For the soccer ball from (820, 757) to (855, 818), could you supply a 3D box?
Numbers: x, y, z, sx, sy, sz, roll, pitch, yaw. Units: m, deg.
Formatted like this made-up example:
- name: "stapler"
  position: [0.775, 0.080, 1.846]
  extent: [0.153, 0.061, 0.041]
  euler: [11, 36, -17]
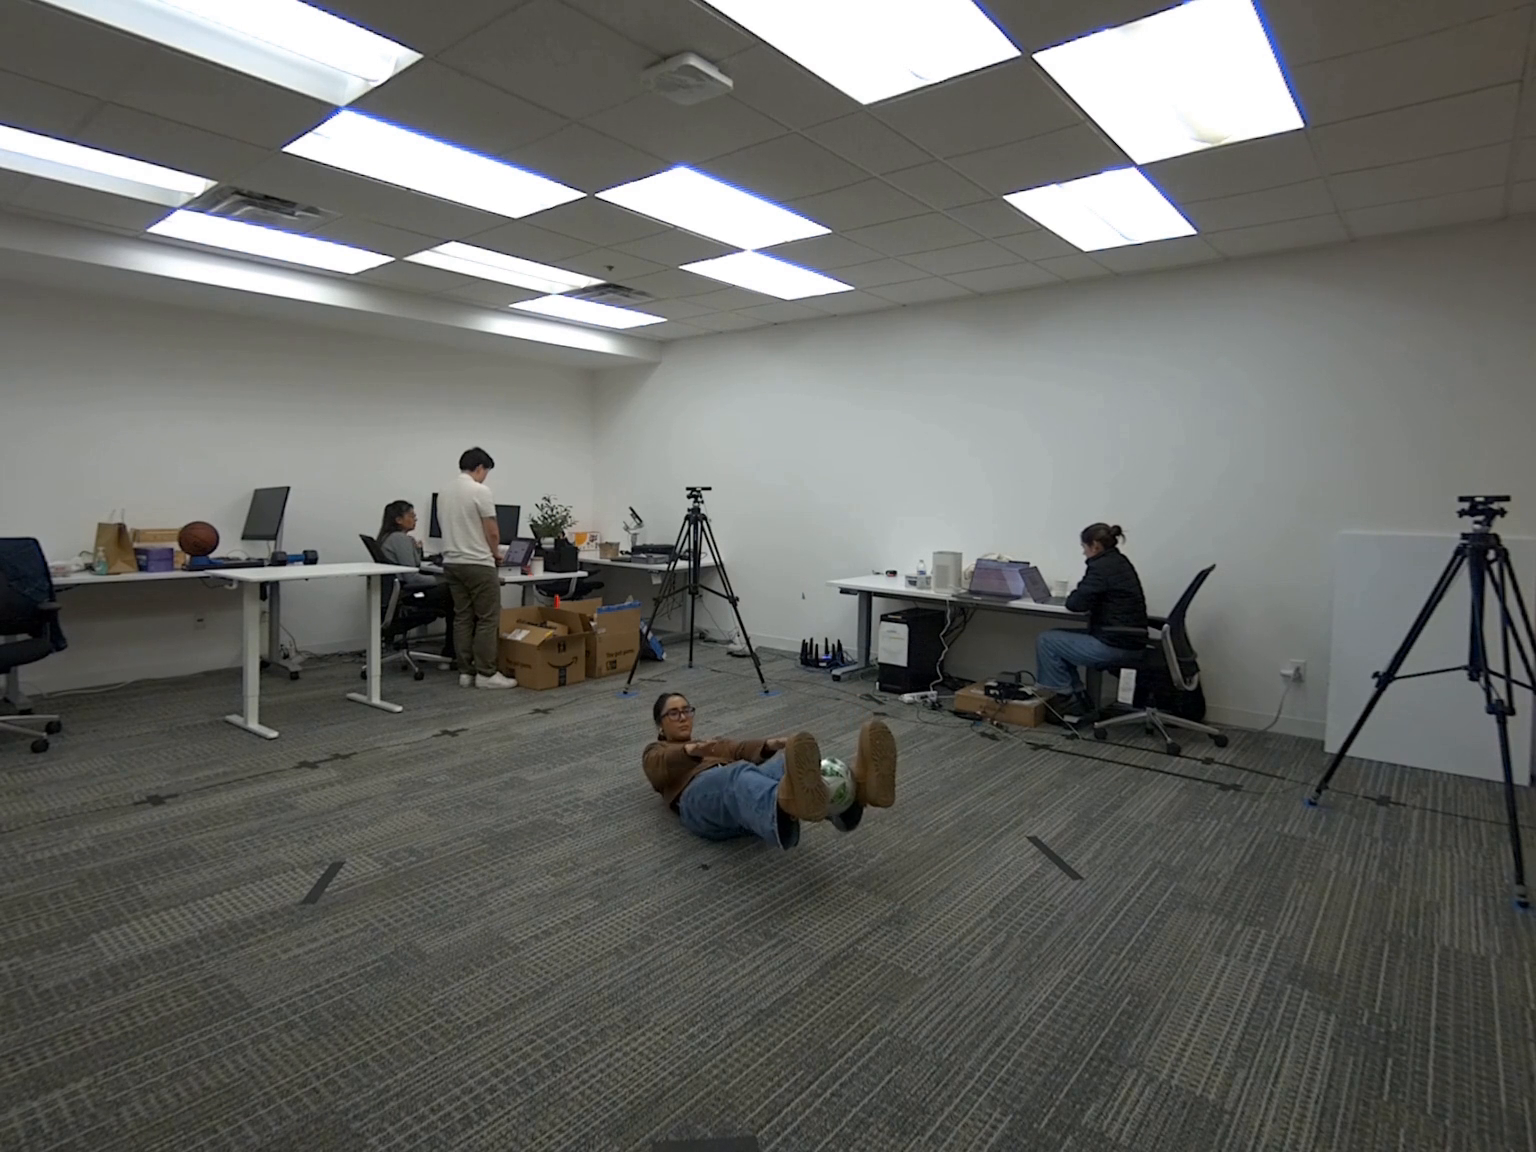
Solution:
- name: "soccer ball"
  position: [0.197, 0.691, 2.843]
  extent: [0.187, 0.187, 0.188]
  euler: [1, 4, -2]
